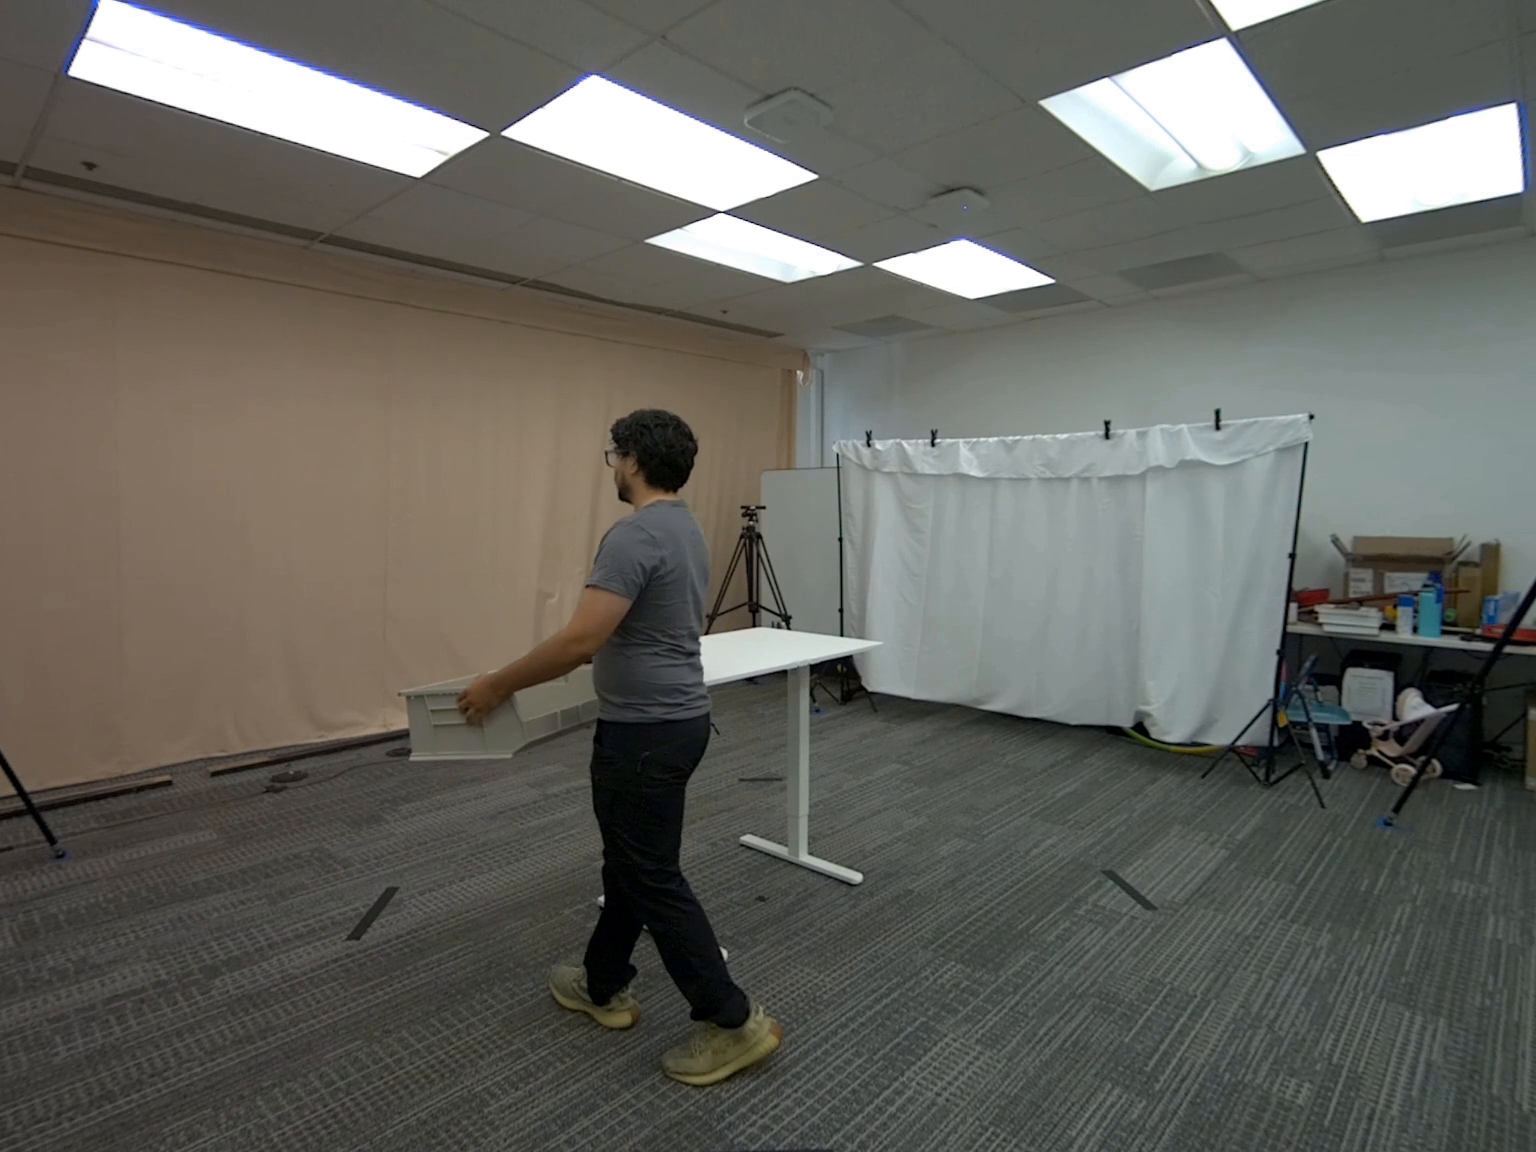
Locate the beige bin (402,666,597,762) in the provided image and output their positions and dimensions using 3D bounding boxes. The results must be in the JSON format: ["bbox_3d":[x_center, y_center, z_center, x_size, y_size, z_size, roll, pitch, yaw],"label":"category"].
[{"bbox_3d":[-0.687,0.357,2.285,0.385,0.189,0.414,-7,1,20],"label":"beige bin"}]
